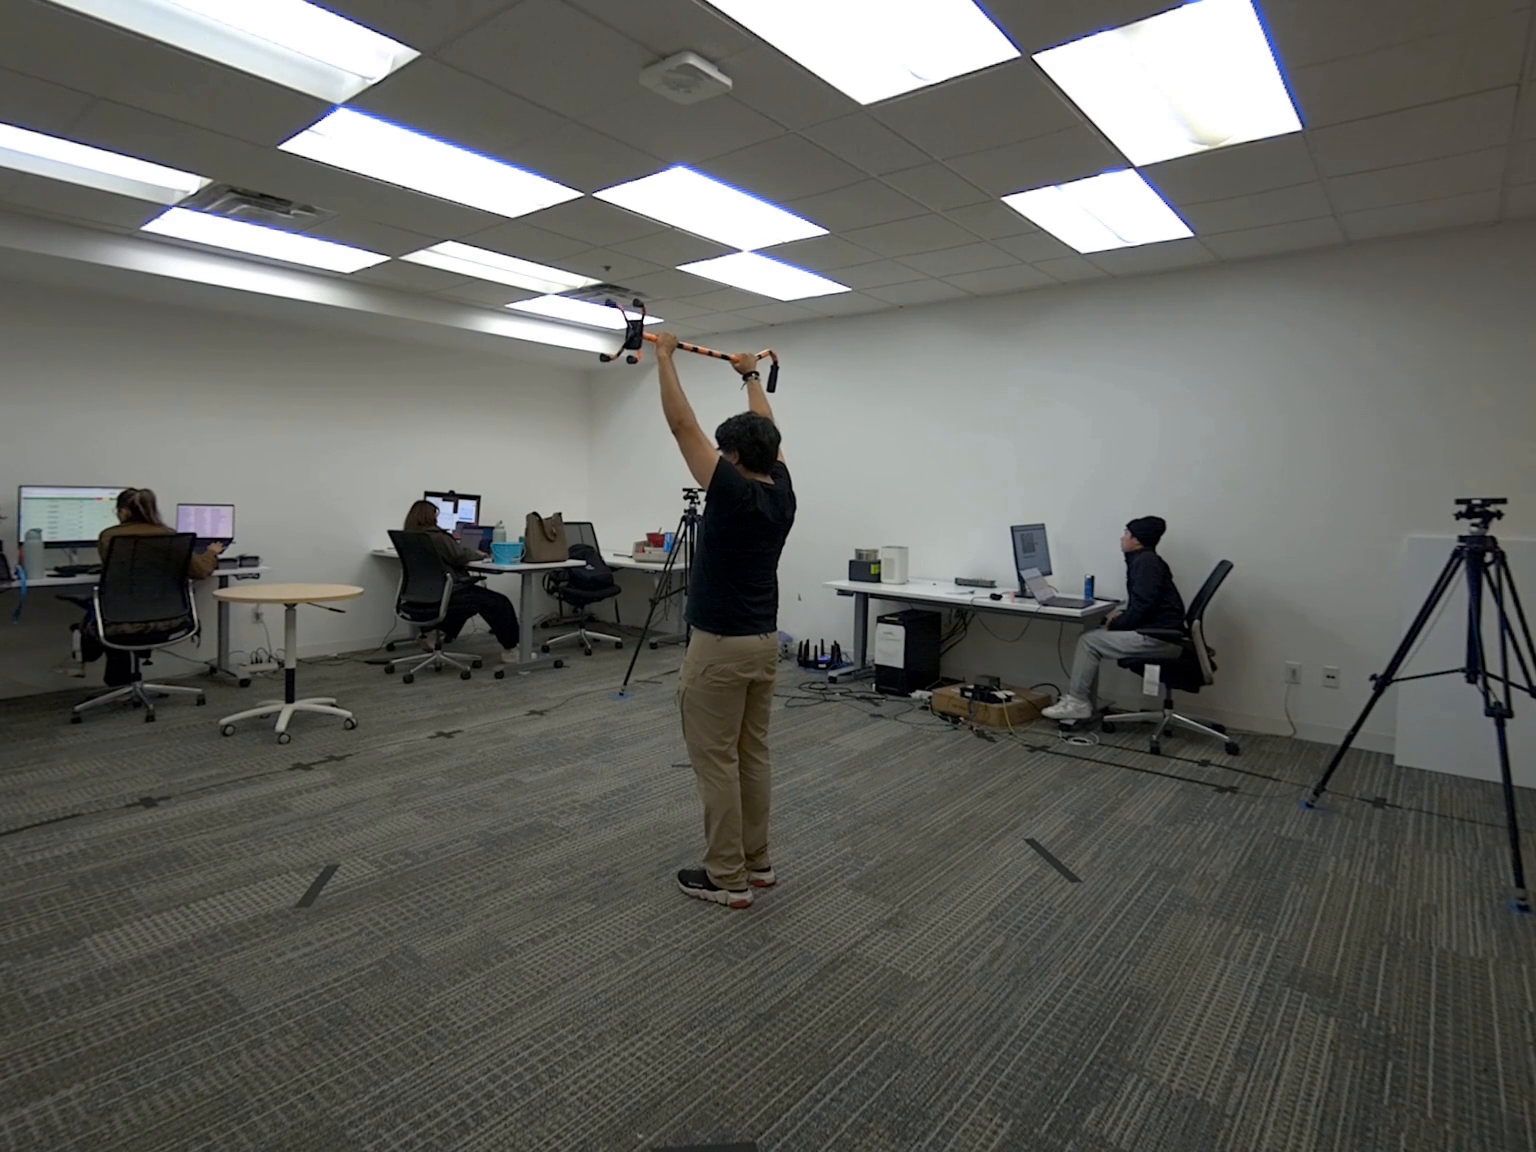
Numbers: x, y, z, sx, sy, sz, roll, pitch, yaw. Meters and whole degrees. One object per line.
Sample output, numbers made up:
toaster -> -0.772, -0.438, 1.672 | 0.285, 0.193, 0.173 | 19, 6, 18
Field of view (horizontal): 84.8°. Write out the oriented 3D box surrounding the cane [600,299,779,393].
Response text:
cane -> -0.238, -0.814, 3.087 | 0.157, 0.205, 0.882 | 14, 11, 34
